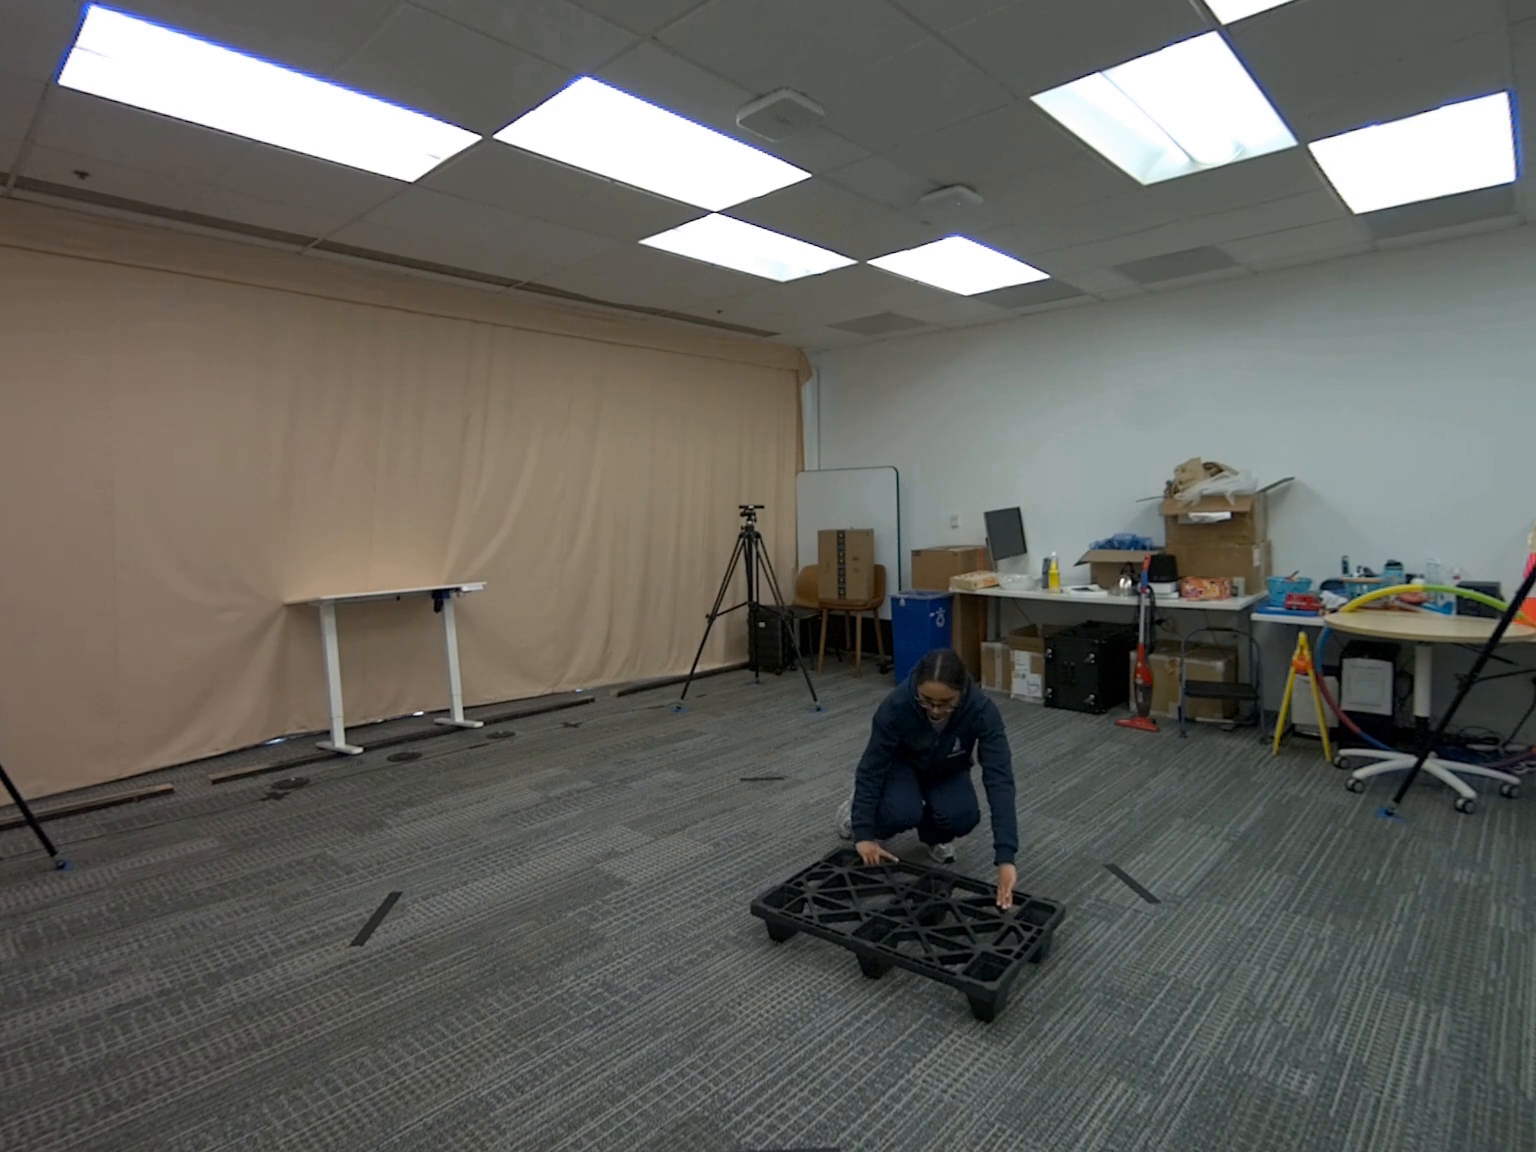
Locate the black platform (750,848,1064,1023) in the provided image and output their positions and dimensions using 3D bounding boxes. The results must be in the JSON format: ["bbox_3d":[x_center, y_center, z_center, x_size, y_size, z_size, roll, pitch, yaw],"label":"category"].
[{"bbox_3d":[0.435,1.093,2.652,0.832,0.143,0.587,3,6,38],"label":"black platform"}]
